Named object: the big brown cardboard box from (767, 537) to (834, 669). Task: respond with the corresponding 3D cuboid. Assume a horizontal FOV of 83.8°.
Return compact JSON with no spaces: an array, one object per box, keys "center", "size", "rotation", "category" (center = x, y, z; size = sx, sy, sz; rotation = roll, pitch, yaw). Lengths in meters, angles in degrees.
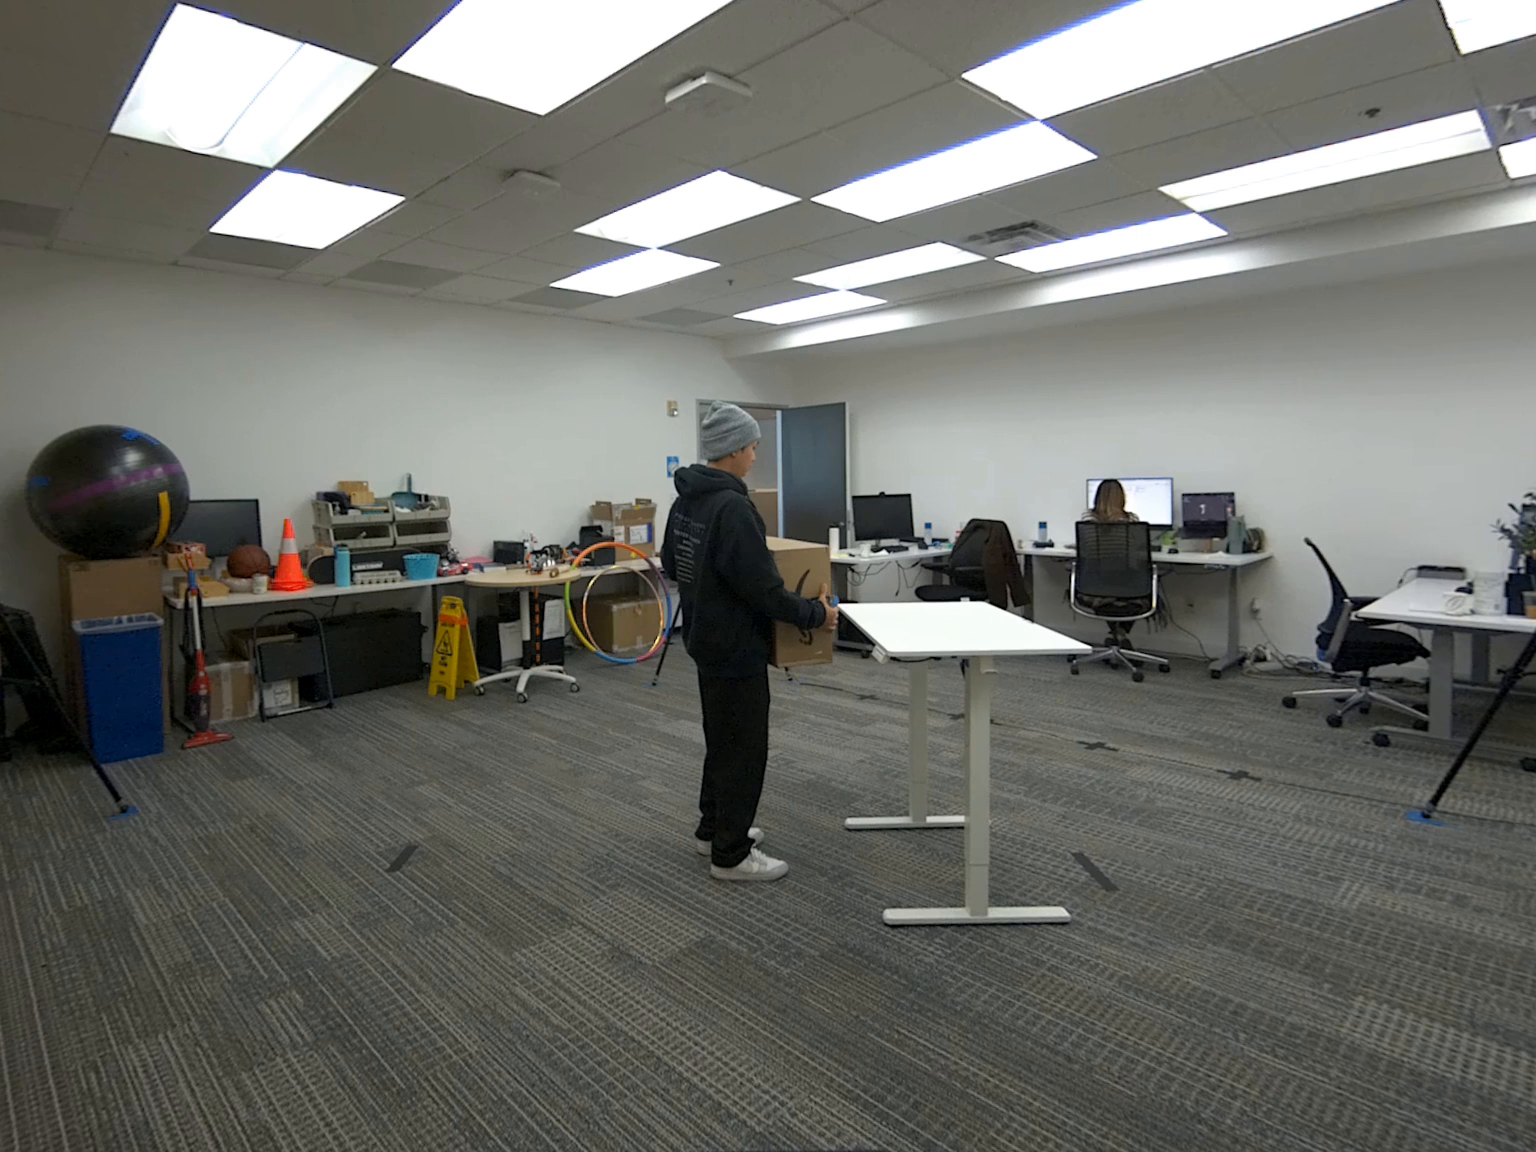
[{"center":[0.018,0.070,3.236],"size":[0.229,0.415,0.603],"rotation":[-4,7,-22],"category":"big brown cardboard box"}]
